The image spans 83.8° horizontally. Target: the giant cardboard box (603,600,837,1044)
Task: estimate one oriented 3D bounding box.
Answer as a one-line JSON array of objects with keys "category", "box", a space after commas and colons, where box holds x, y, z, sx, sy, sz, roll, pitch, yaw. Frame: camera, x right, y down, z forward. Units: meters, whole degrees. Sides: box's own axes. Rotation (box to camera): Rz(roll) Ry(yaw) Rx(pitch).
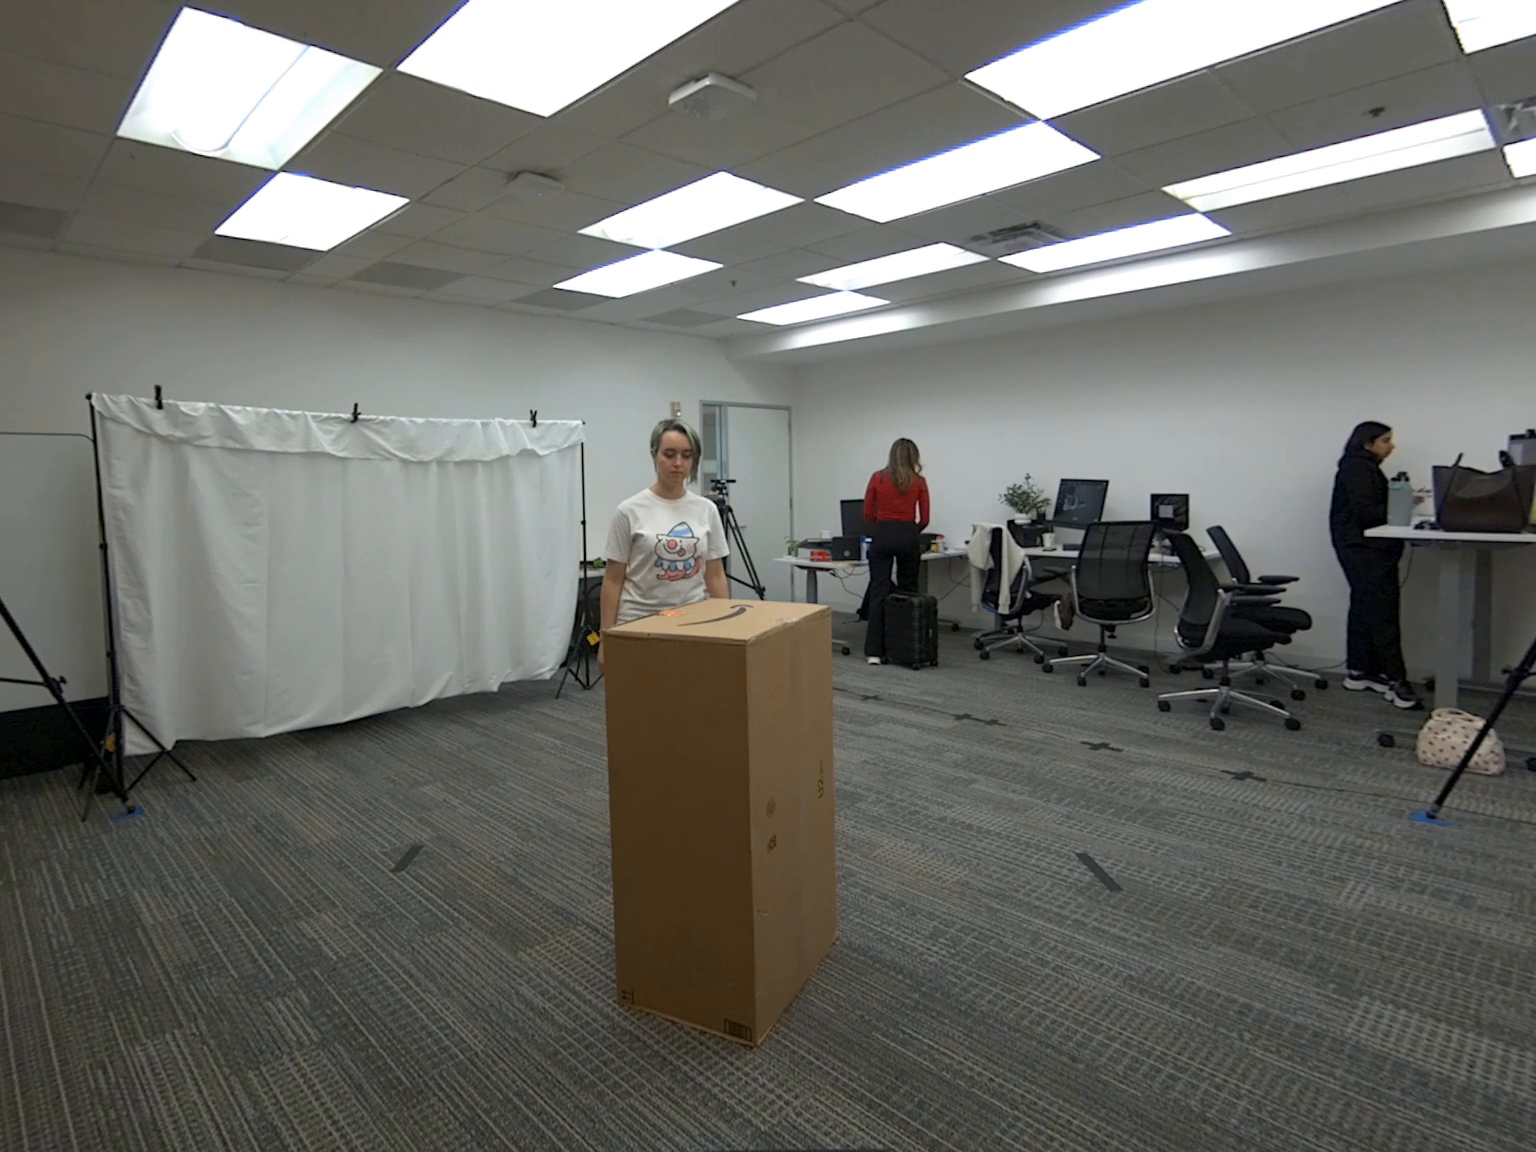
[{"category": "giant cardboard box", "box": [-0.108, 0.622, 2.414, 0.436, 1.022, 0.566, 1, 5, 27]}]
